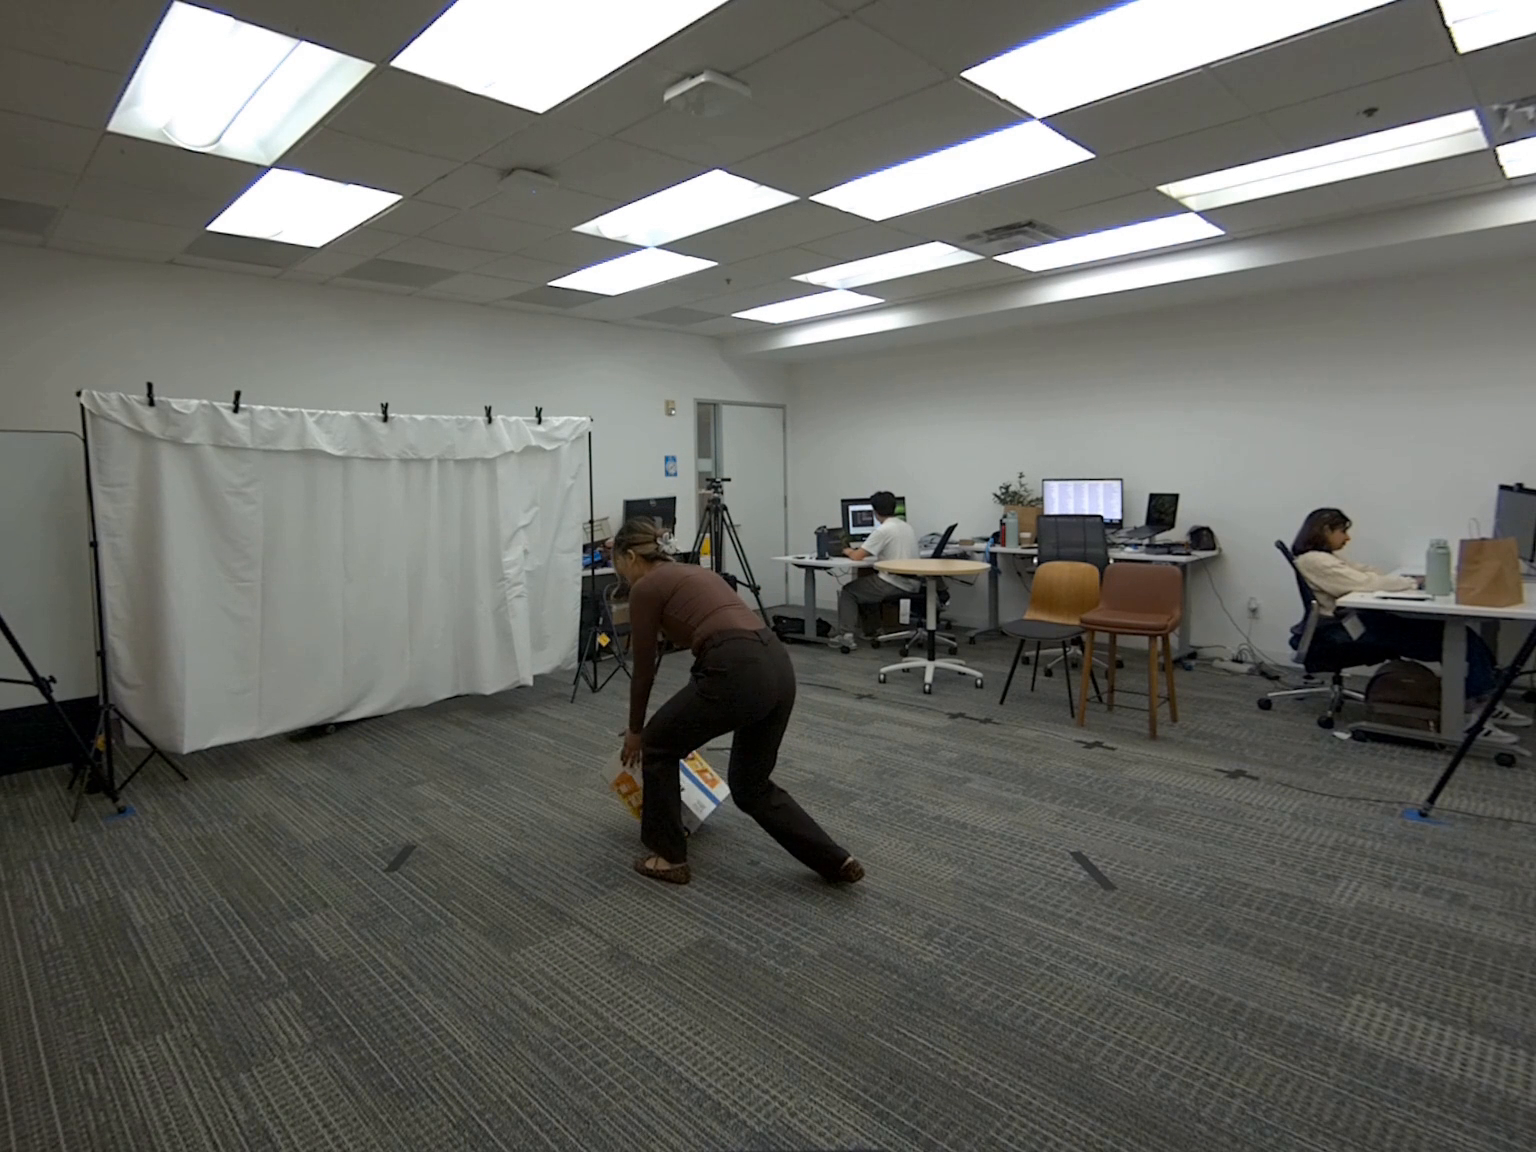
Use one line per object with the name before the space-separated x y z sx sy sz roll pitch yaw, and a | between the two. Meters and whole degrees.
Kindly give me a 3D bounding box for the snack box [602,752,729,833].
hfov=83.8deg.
snack box | -0.395 0.813 3.334 0.411 0.205 0.335 43 15 10
